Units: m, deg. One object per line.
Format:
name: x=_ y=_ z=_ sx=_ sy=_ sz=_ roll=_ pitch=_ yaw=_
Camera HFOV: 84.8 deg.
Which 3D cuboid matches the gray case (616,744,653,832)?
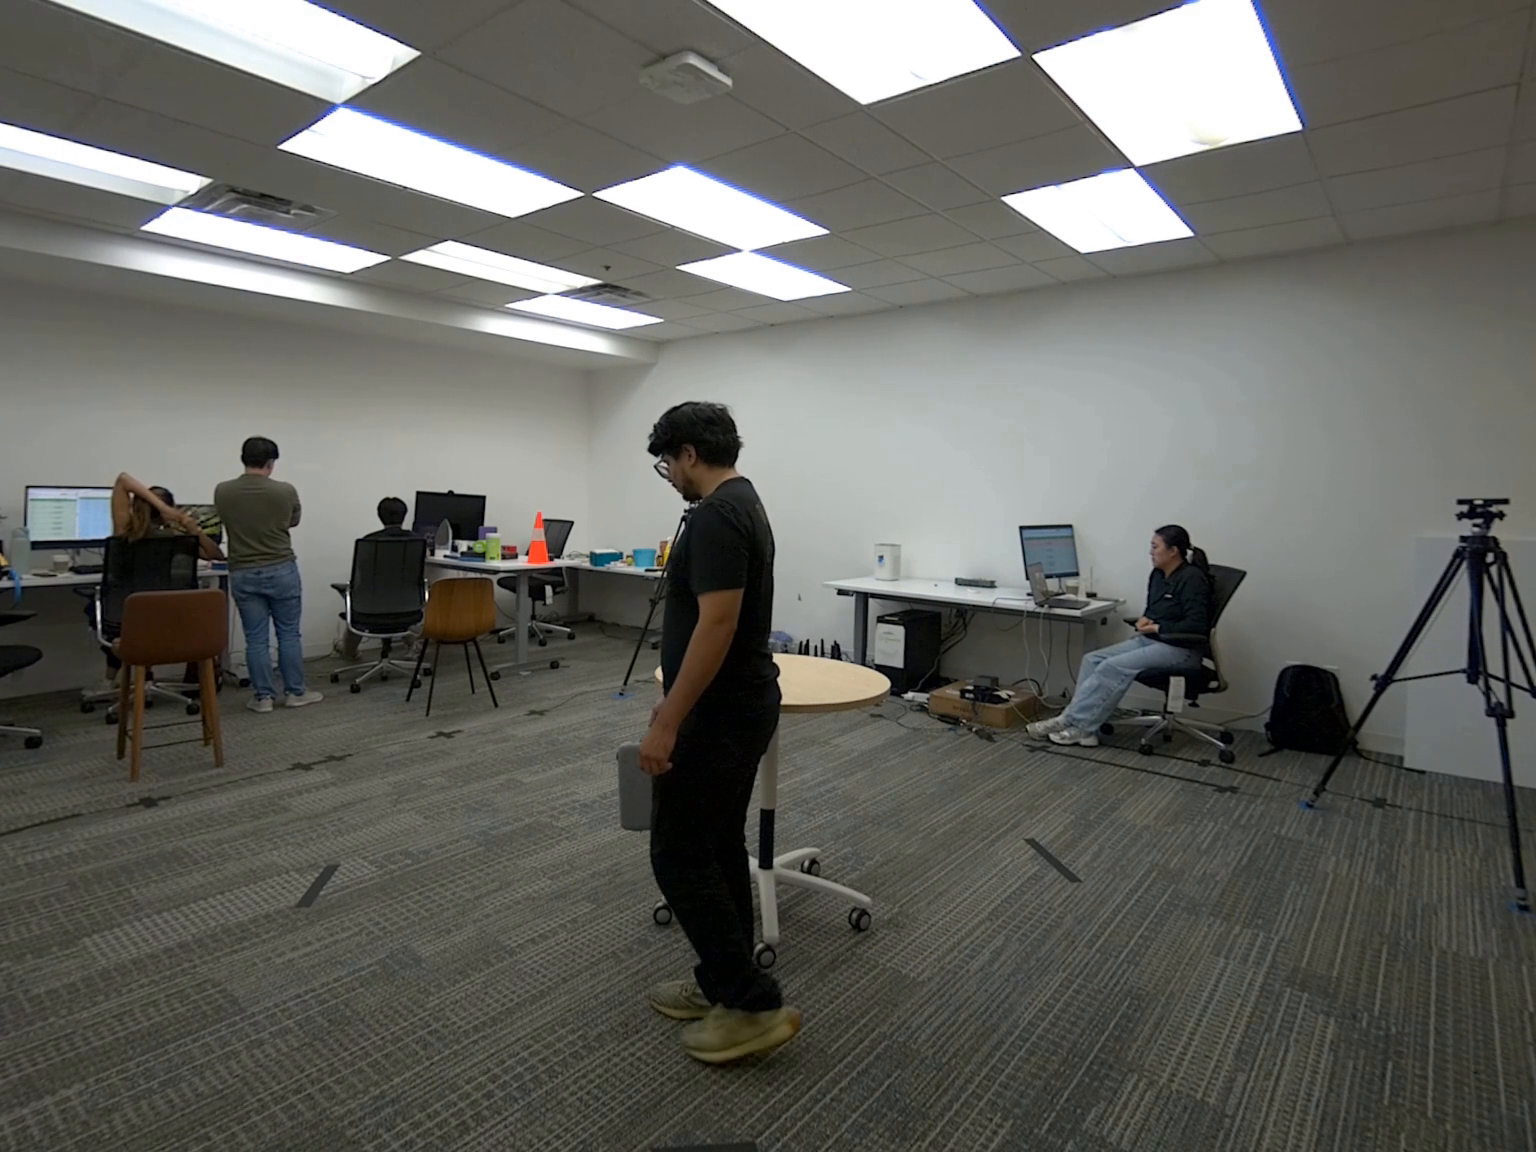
gray case: x=-0.309 y=0.599 z=2.475 sx=0.260 sy=0.263 sz=0.102 roll=-4 pitch=-8 yaw=13
